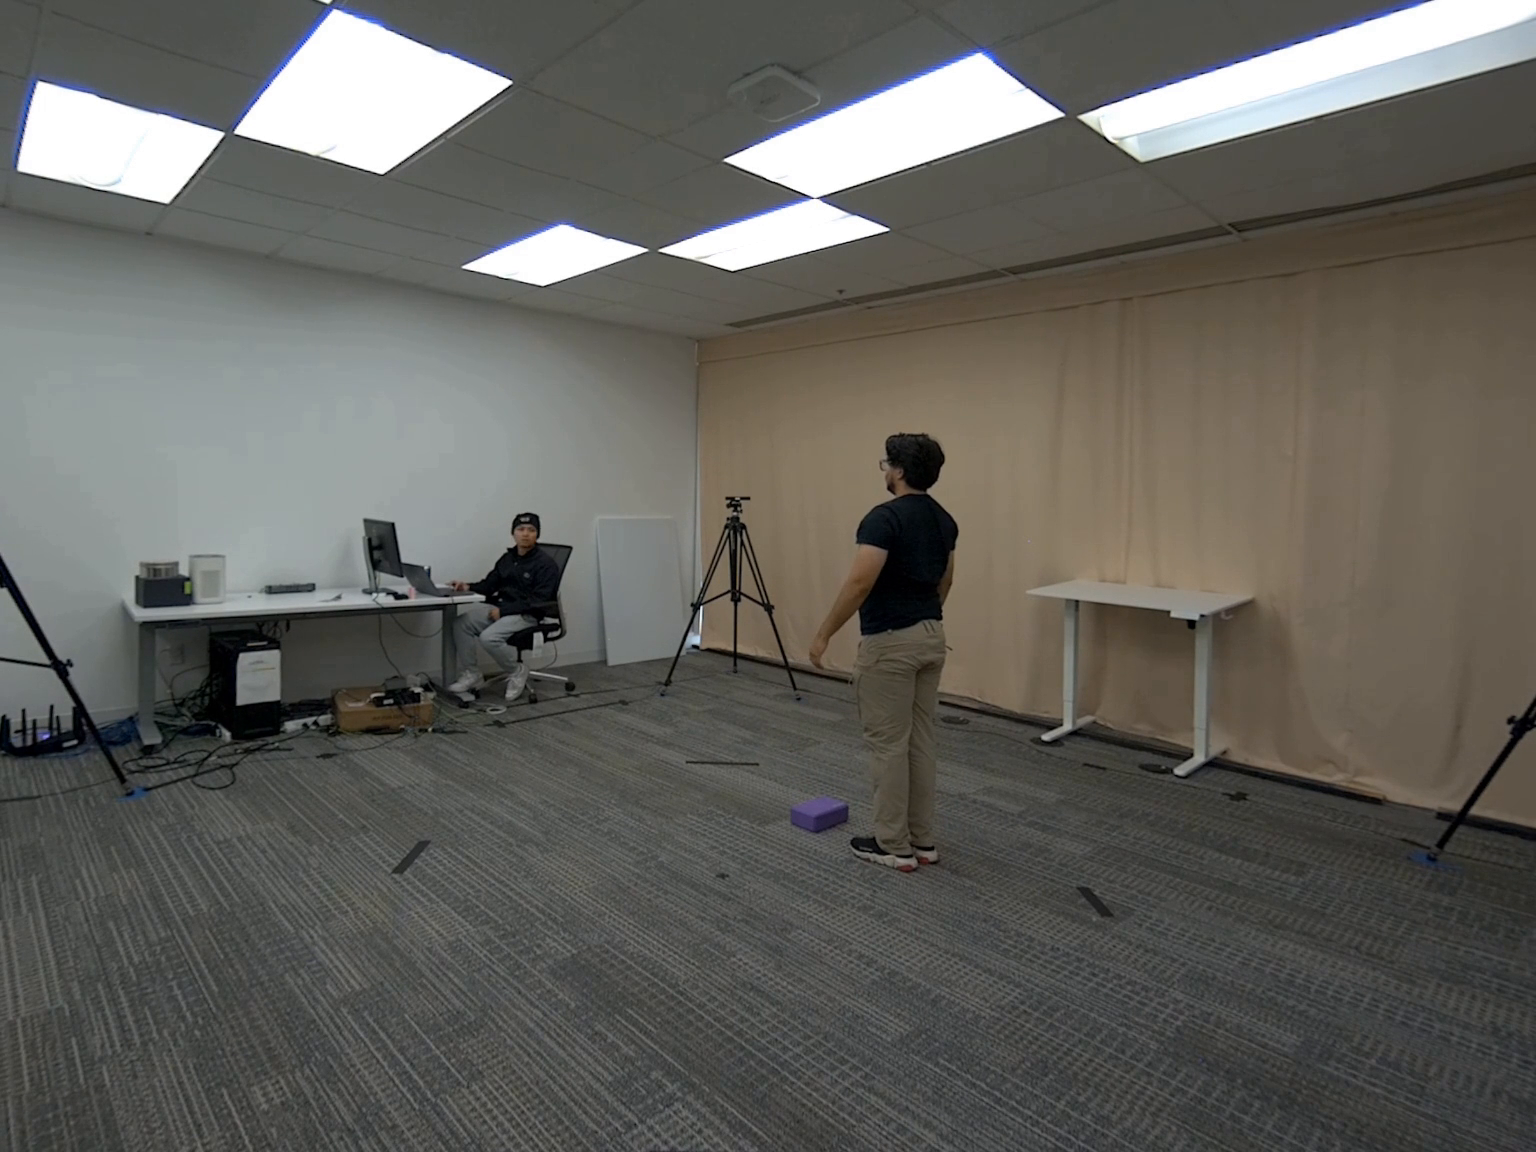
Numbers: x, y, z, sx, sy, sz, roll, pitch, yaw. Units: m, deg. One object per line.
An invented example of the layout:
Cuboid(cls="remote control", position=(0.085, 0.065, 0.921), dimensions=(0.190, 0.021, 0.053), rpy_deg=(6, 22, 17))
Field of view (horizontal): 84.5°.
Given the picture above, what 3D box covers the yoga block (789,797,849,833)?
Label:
Cuboid(cls="yoga block", position=(0.214, 1.029, 3.651), dimensions=(0.224, 0.076, 0.153), rpy_deg=(-3, 6, -45))
